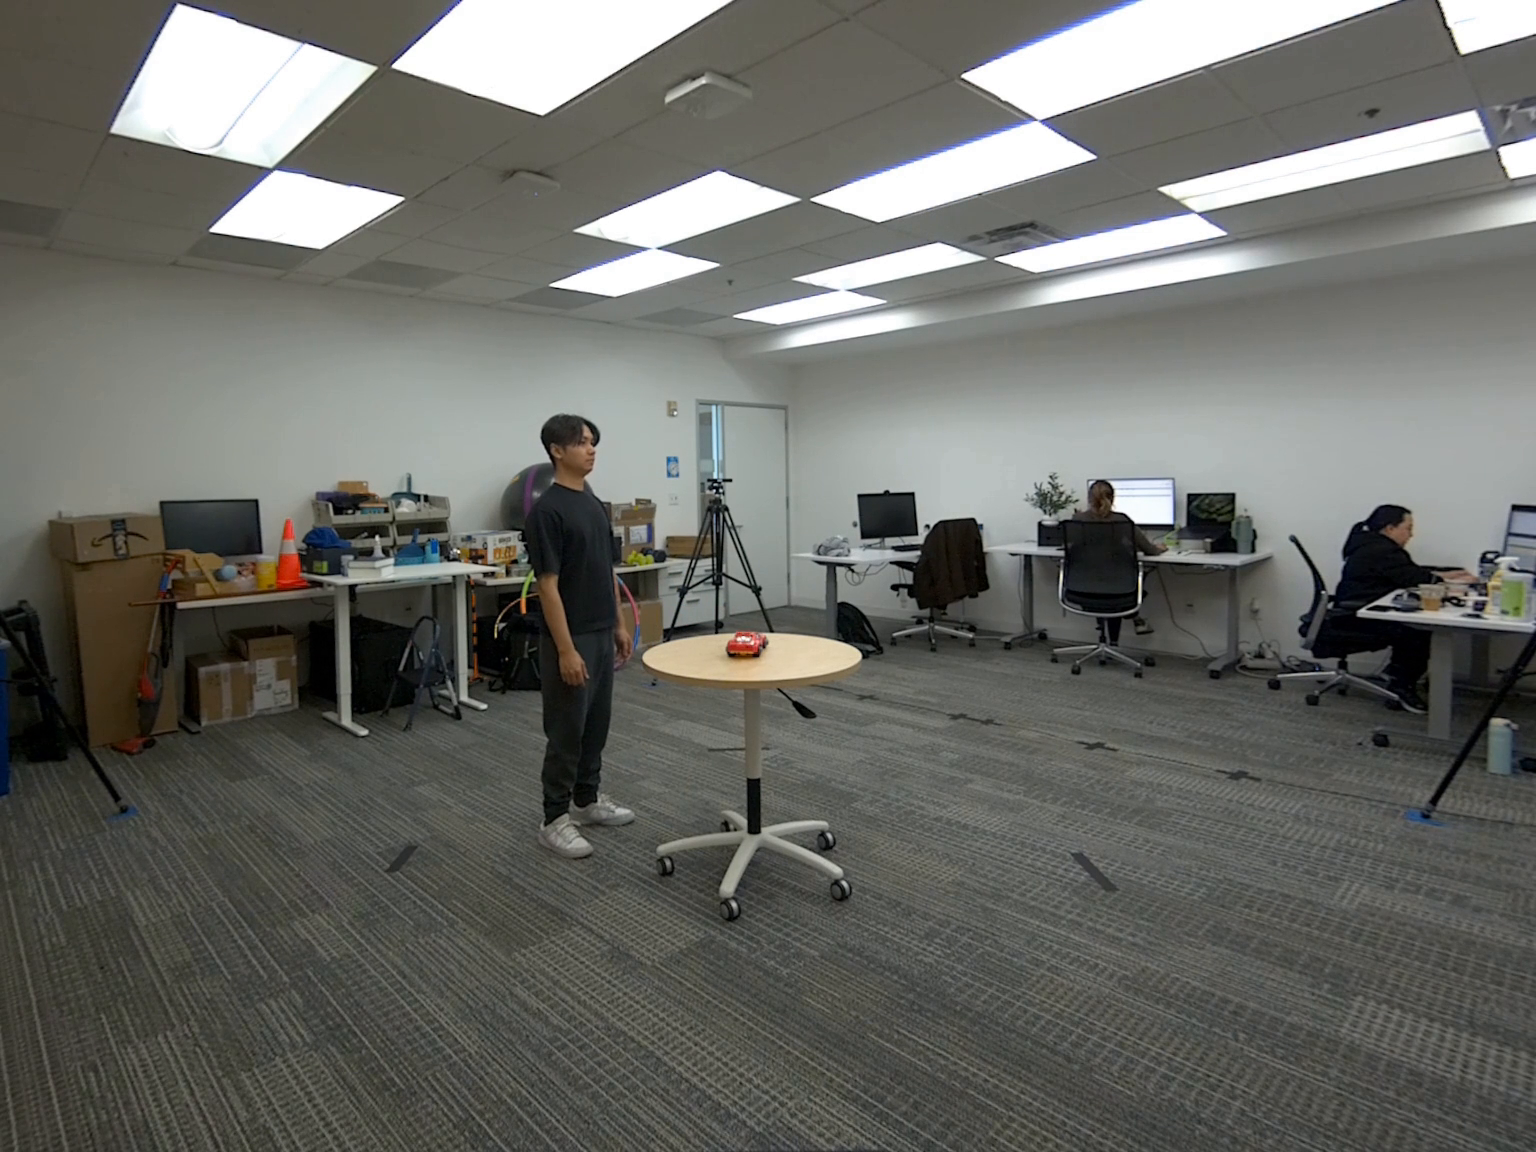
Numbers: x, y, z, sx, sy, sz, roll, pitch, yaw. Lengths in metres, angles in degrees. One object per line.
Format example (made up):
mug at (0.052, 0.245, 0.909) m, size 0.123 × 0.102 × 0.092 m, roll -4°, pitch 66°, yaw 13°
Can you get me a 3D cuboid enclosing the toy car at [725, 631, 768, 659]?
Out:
toy car at (-0.076, 0.241, 3.012) m, size 0.131 × 0.083 × 0.250 m, roll 1°, pitch -5°, yaw 9°
